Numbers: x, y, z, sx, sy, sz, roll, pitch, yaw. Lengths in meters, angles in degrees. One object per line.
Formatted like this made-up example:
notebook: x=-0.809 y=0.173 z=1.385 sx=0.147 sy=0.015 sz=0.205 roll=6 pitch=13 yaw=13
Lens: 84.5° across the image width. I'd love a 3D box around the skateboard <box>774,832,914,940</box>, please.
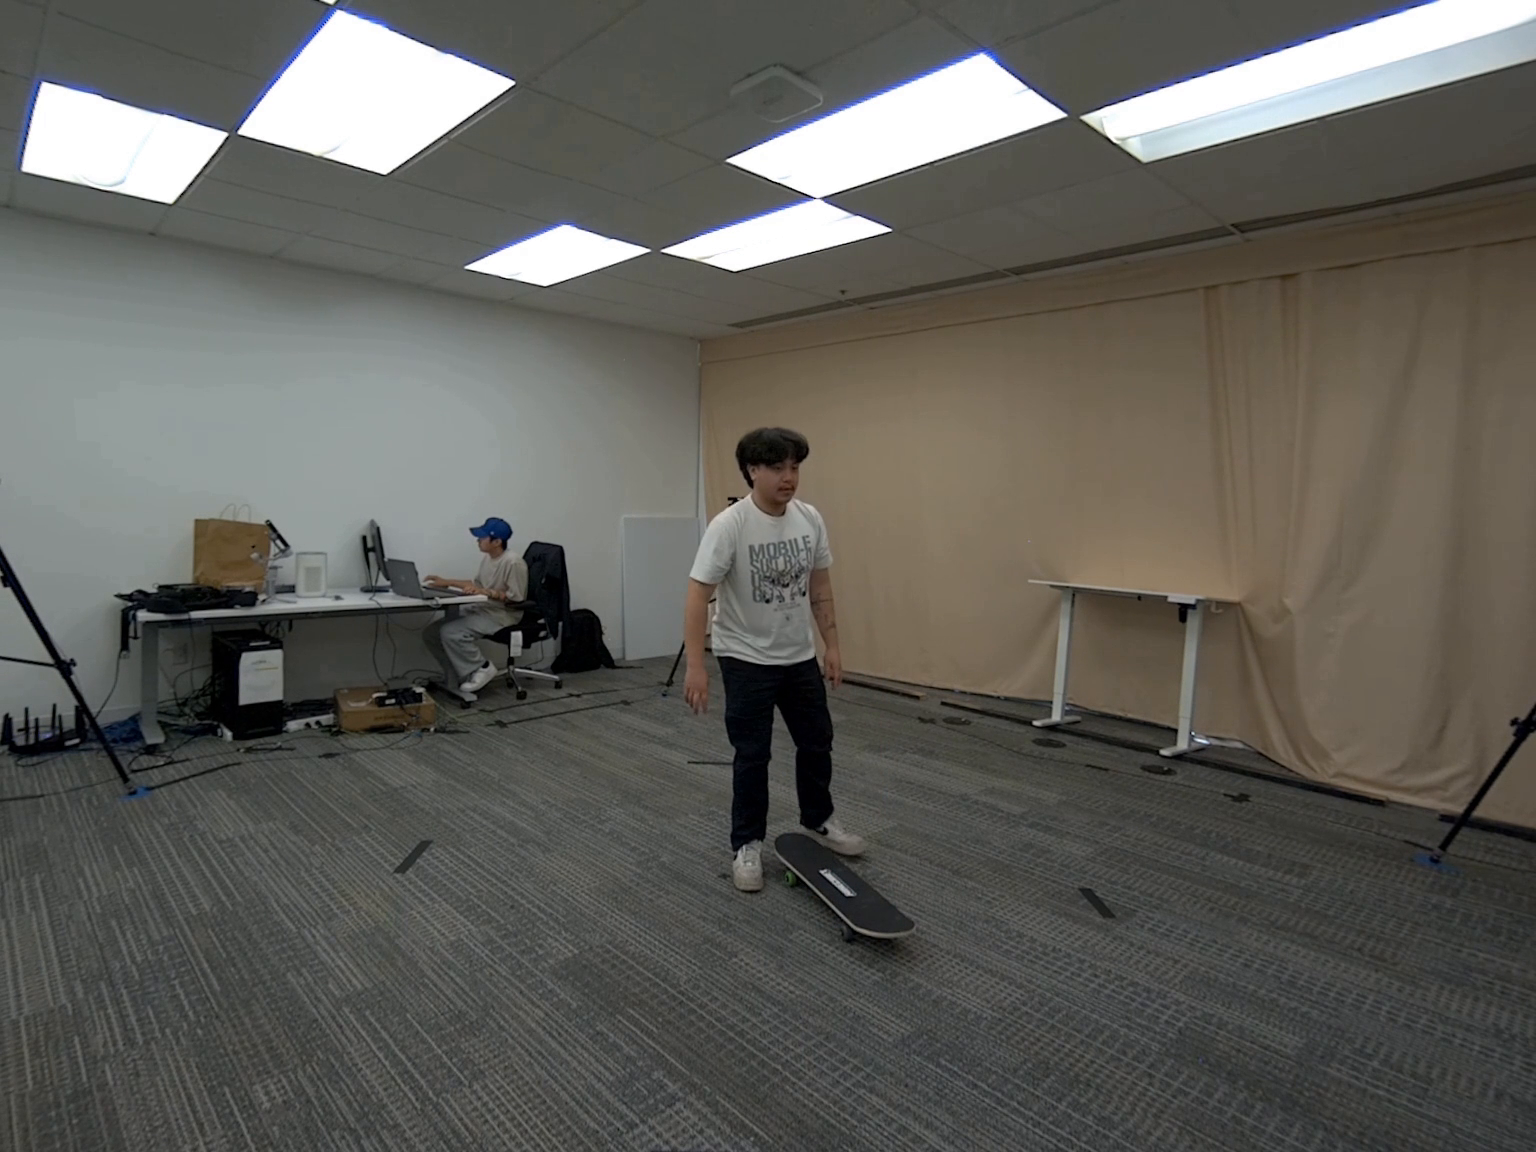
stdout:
skateboard: x=0.233 y=1.084 z=2.879 sx=0.190 sy=0.110 sz=0.801 roll=-2 pitch=6 yaw=-23
